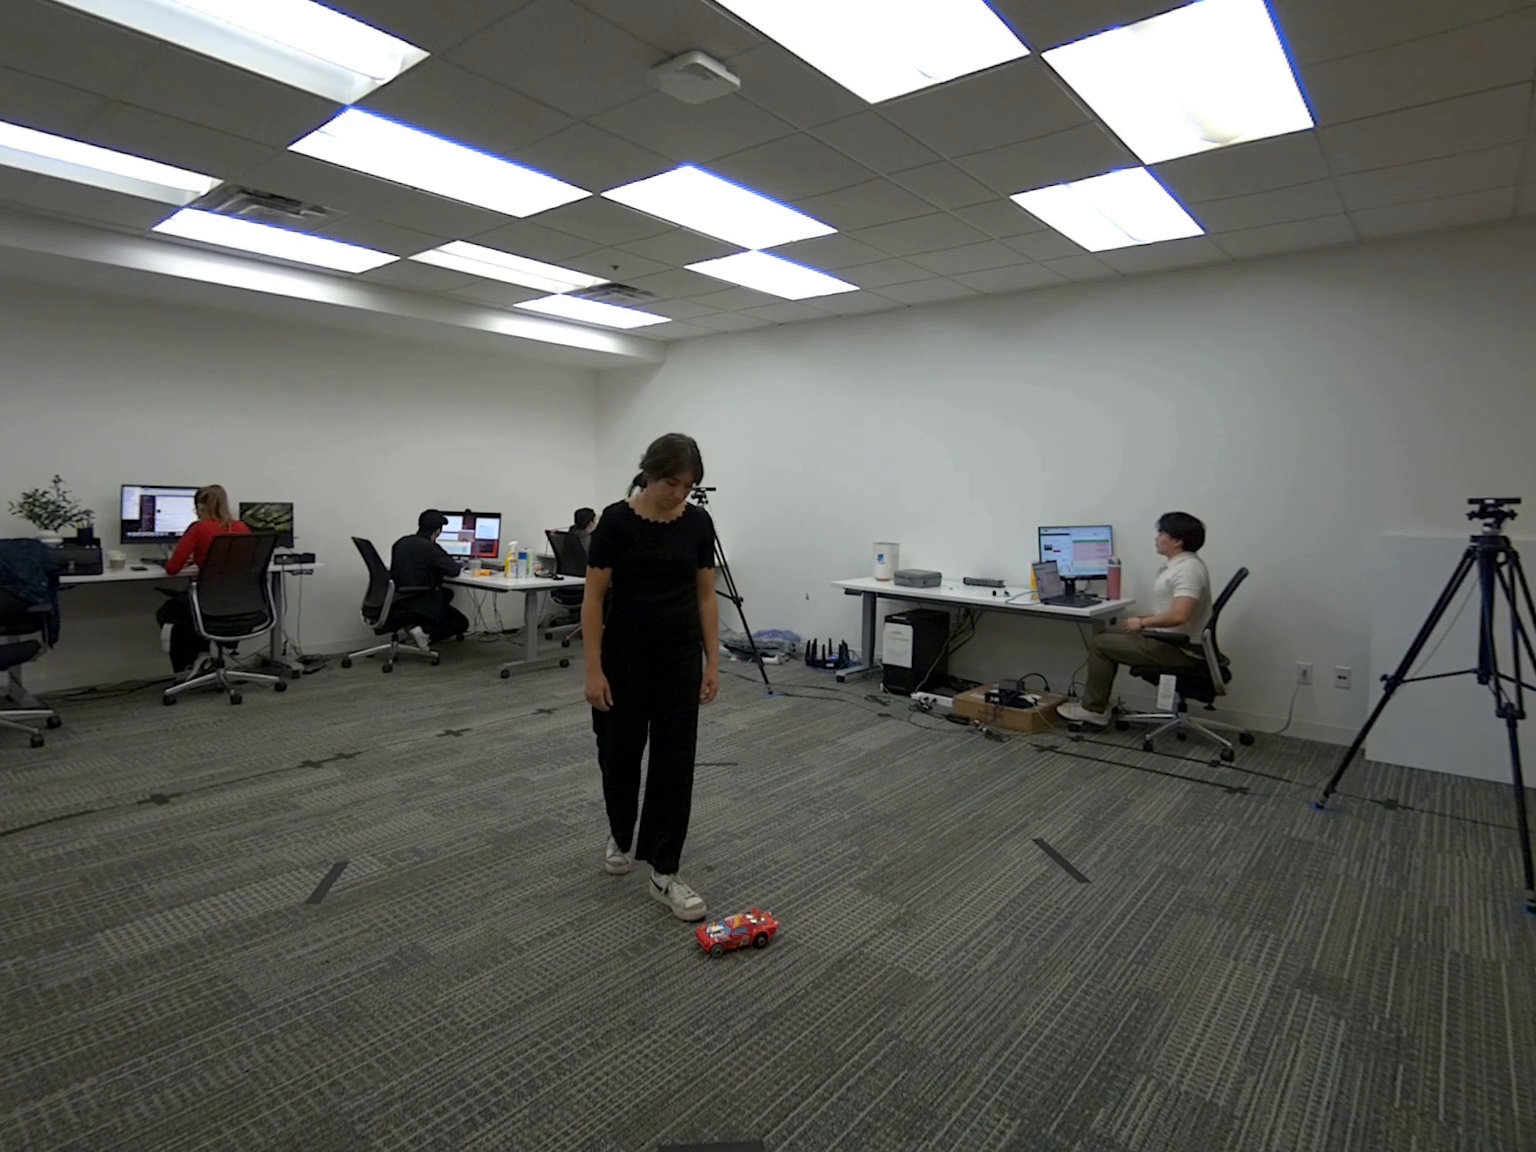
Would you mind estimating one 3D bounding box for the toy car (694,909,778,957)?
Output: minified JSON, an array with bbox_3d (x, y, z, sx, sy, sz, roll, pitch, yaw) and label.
[{"bbox_3d":[-0.095,1.085,2.595,0.250,0.082,0.134,-14,11,-23],"label":"toy car"}]
